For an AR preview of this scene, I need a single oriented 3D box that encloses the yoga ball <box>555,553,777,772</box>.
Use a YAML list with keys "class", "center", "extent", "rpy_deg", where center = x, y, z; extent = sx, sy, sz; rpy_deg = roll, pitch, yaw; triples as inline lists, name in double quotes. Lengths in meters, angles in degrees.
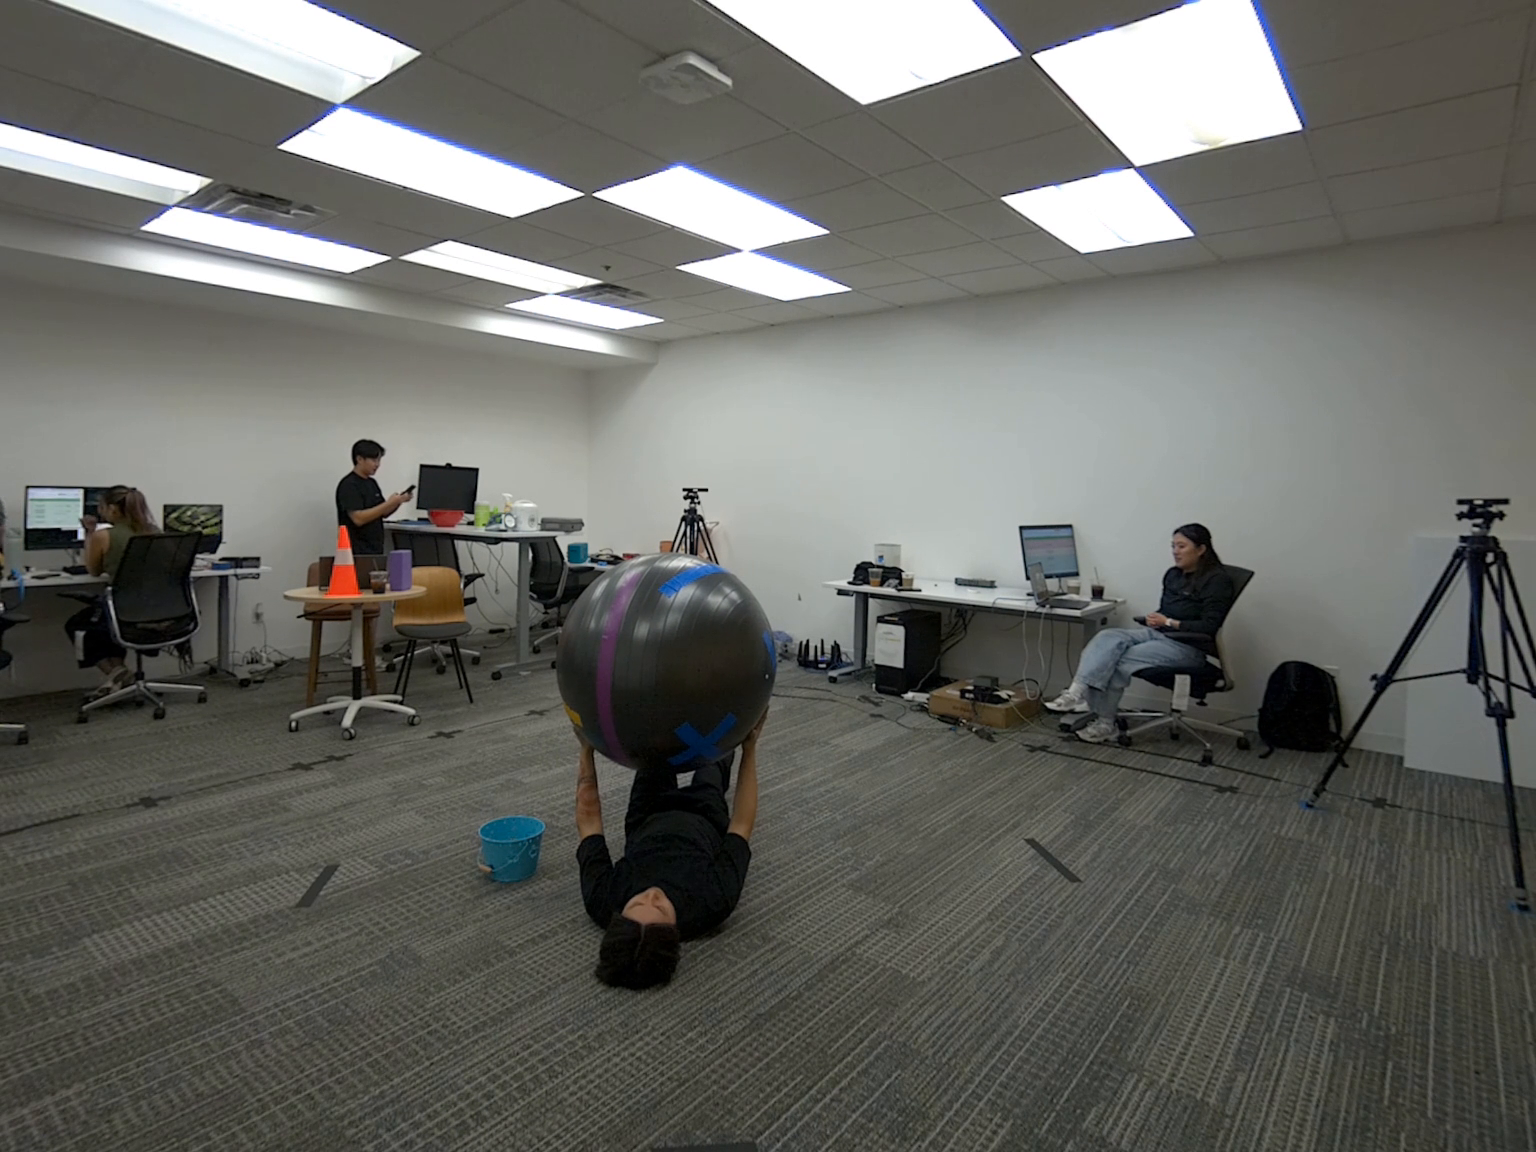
- class: "yoga ball"
  center: [-0.359, 0.302, 2.954]
  extent: [0.757, 0.755, 0.762]
  rpy_deg: [1, 4, -2]
